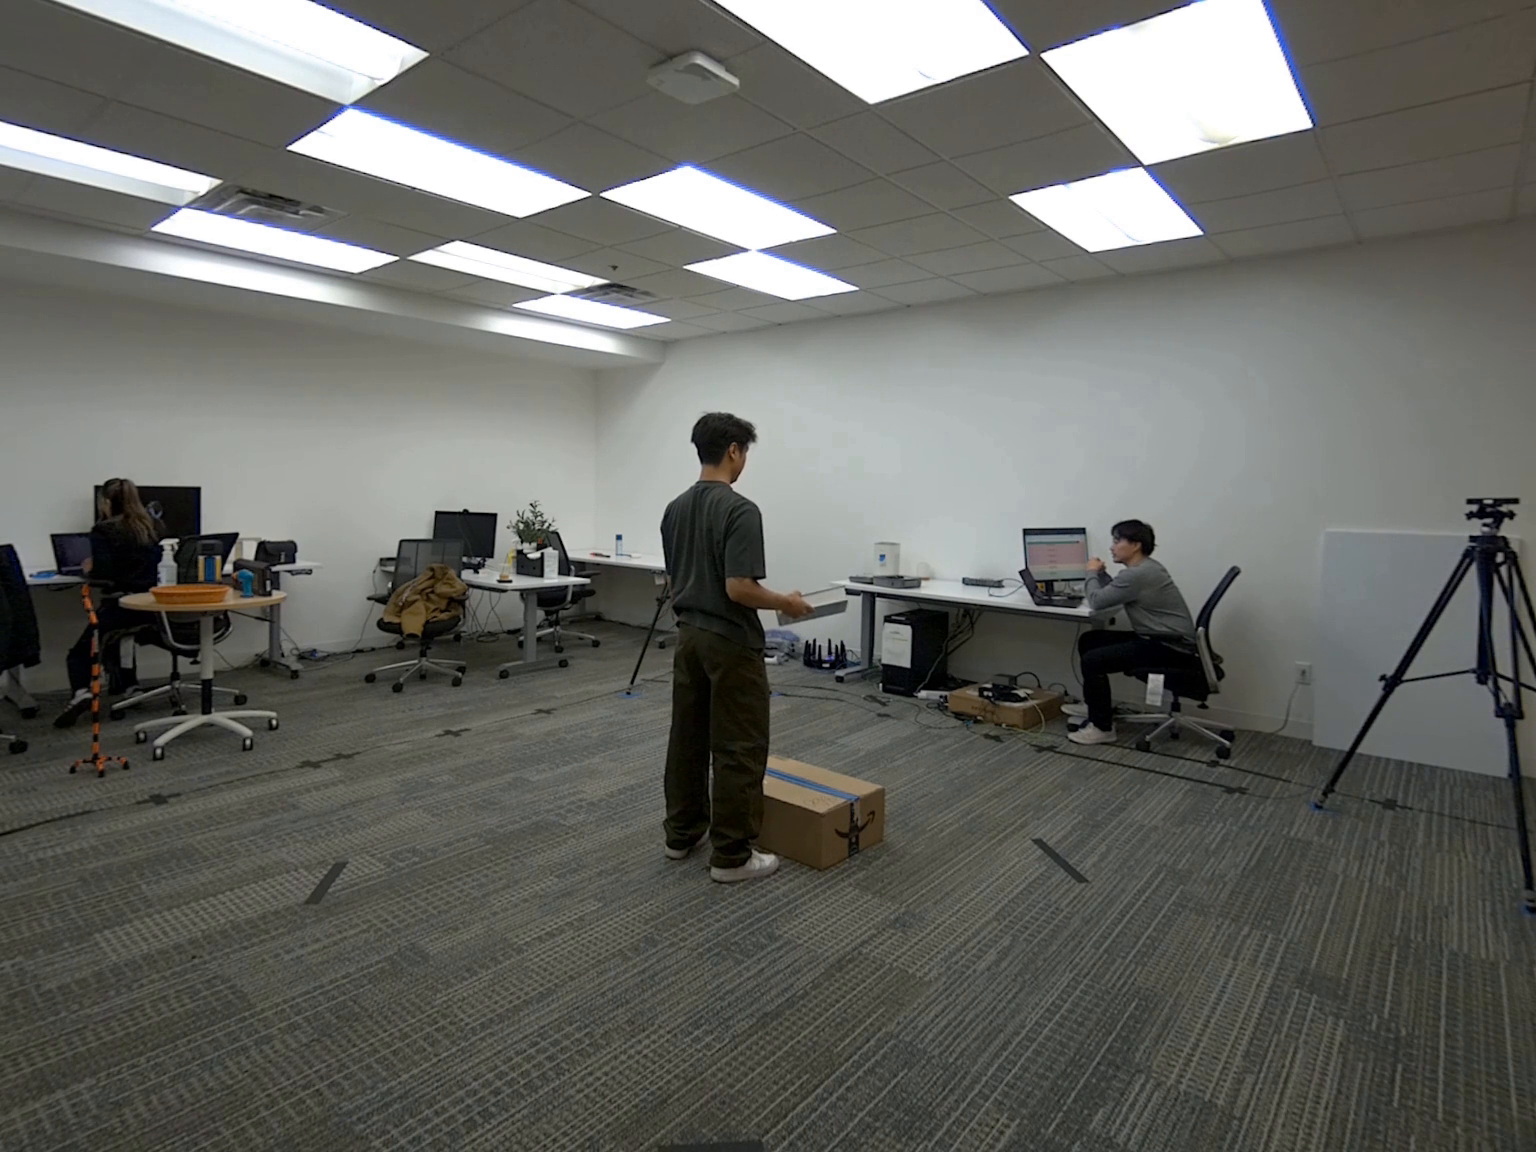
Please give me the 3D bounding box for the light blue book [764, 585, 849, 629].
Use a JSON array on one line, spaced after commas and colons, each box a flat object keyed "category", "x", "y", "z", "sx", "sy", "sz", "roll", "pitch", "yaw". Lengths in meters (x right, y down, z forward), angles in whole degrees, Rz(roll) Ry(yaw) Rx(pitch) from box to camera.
[{"category": "light blue book", "x": 0.151, "y": 0.113, "z": 3.210, "sx": 0.261, "sy": 0.060, "sz": 0.188, "roll": -10, "pitch": -15, "yaw": 0}]
